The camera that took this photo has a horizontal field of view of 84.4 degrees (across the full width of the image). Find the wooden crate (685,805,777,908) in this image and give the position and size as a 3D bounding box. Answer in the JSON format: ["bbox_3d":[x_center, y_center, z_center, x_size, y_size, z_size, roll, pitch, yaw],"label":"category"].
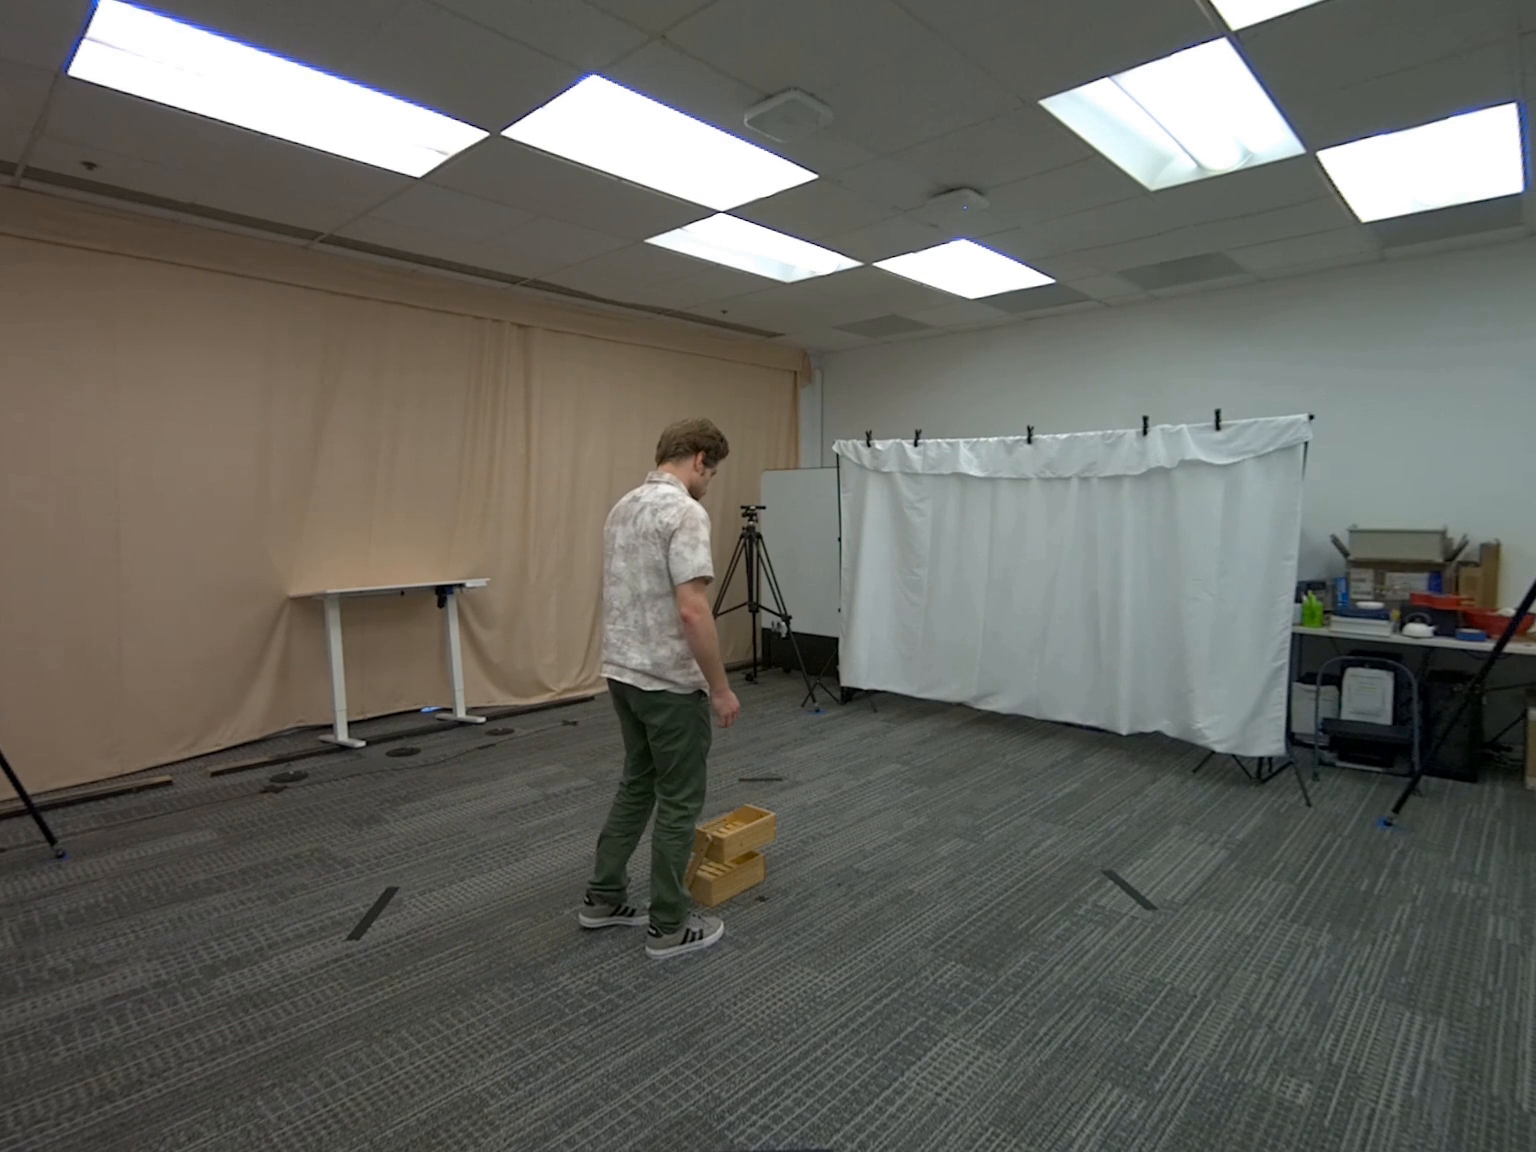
[{"bbox_3d":[-0.180,1.001,3.090,0.312,0.272,0.315,4,6,40],"label":"wooden crate"}]
